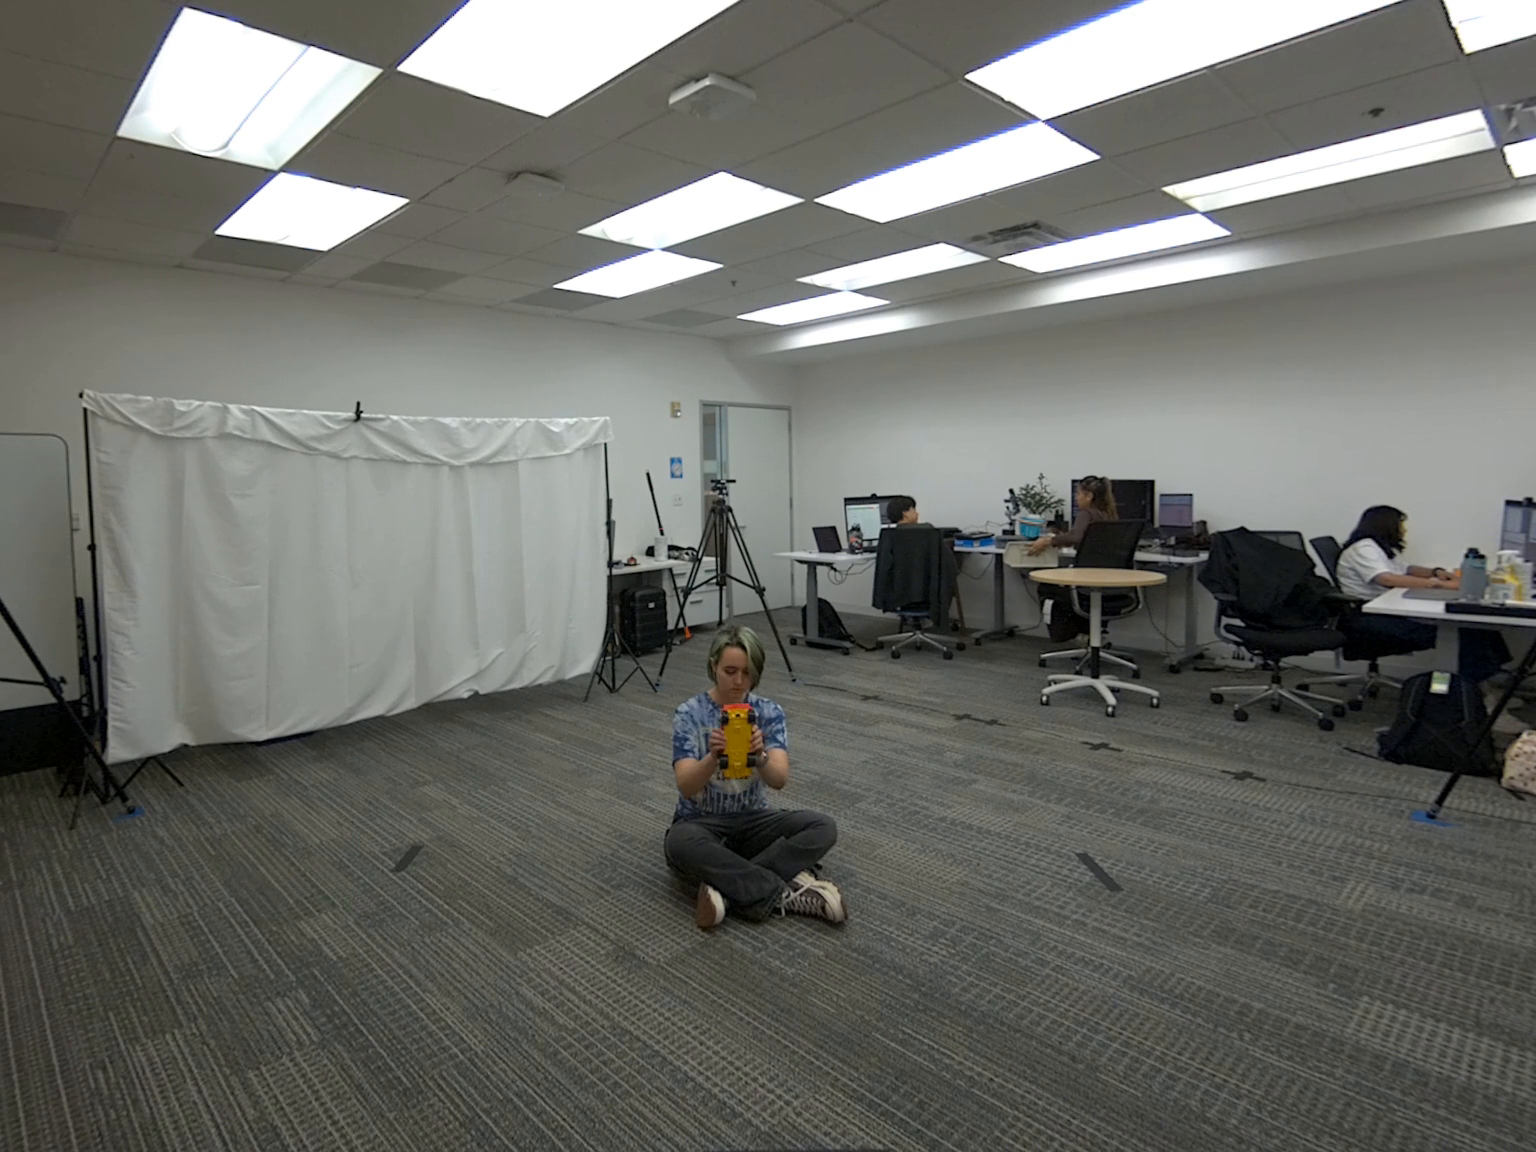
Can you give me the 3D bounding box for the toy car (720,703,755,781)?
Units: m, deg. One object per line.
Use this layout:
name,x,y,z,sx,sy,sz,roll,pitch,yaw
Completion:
toy car,-0.101,0.539,2.695,0.129,0.250,0.085,-1,23,-8
